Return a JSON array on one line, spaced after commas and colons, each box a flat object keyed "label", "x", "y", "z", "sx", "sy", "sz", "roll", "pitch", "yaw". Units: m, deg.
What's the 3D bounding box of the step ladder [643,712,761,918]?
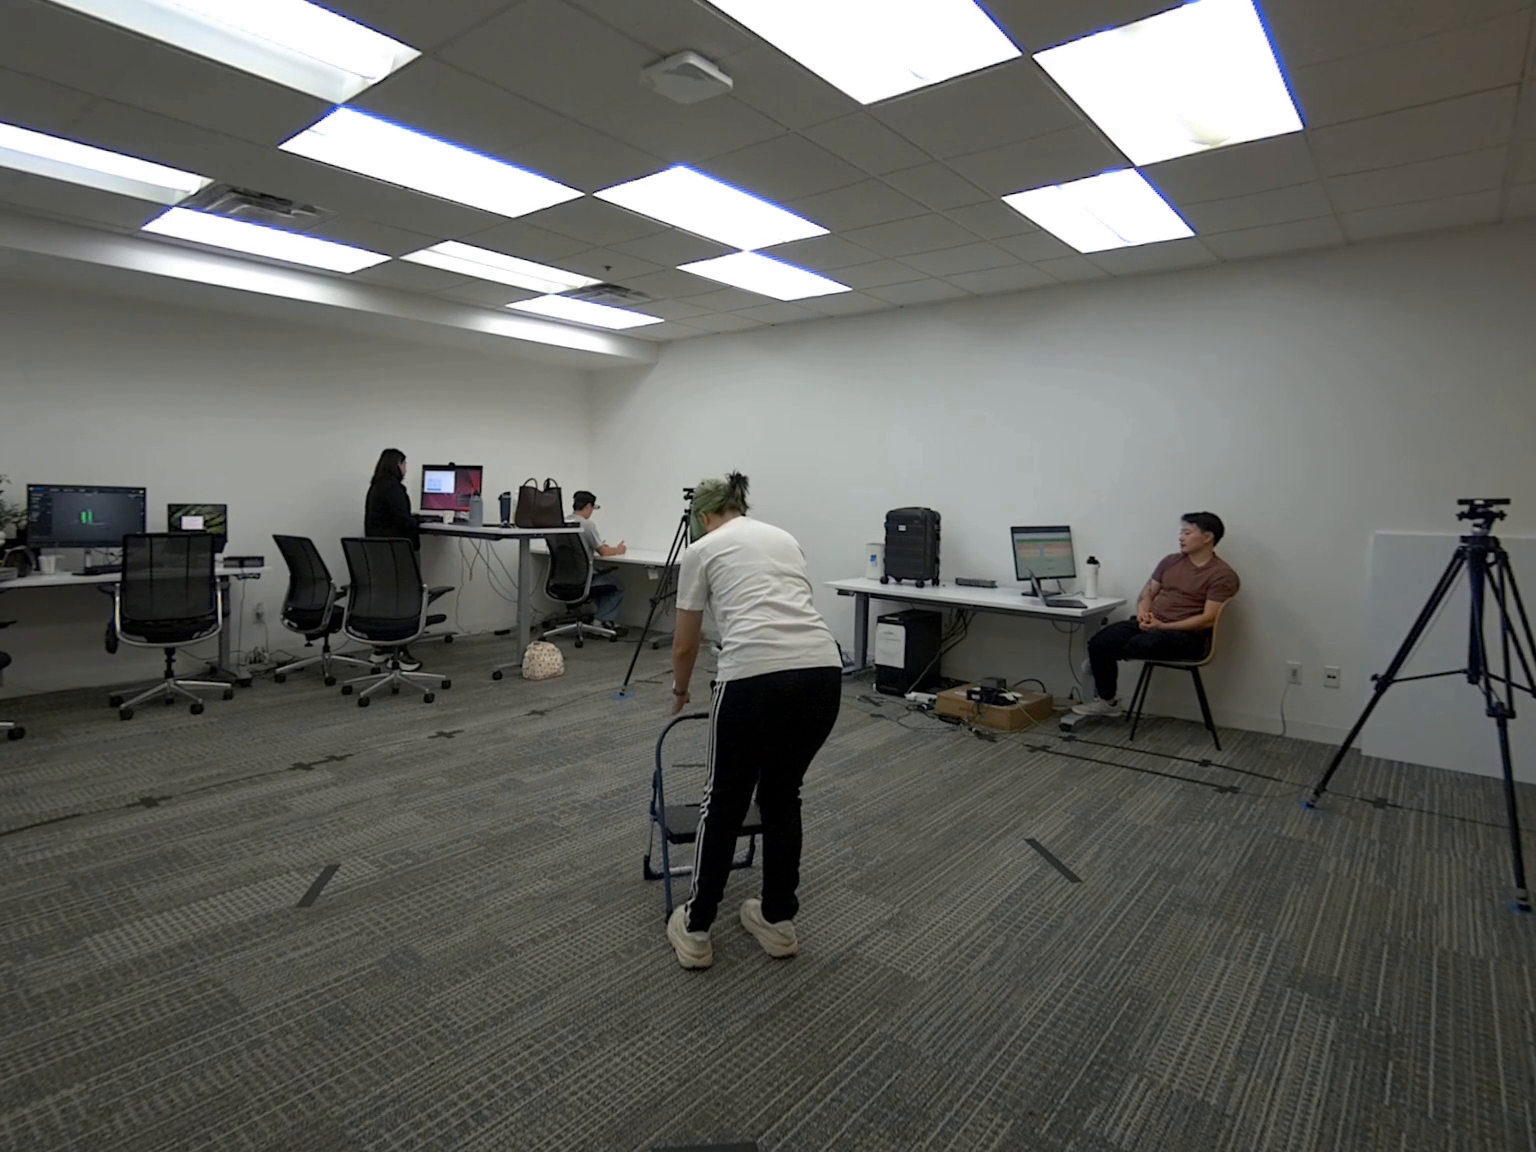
[{"label": "step ladder", "x": -0.196, "y": 0.787, "z": 2.921, "sx": 0.422, "sy": 0.604, "sz": 0.358, "roll": 0, "pitch": 3, "yaw": -21}]
